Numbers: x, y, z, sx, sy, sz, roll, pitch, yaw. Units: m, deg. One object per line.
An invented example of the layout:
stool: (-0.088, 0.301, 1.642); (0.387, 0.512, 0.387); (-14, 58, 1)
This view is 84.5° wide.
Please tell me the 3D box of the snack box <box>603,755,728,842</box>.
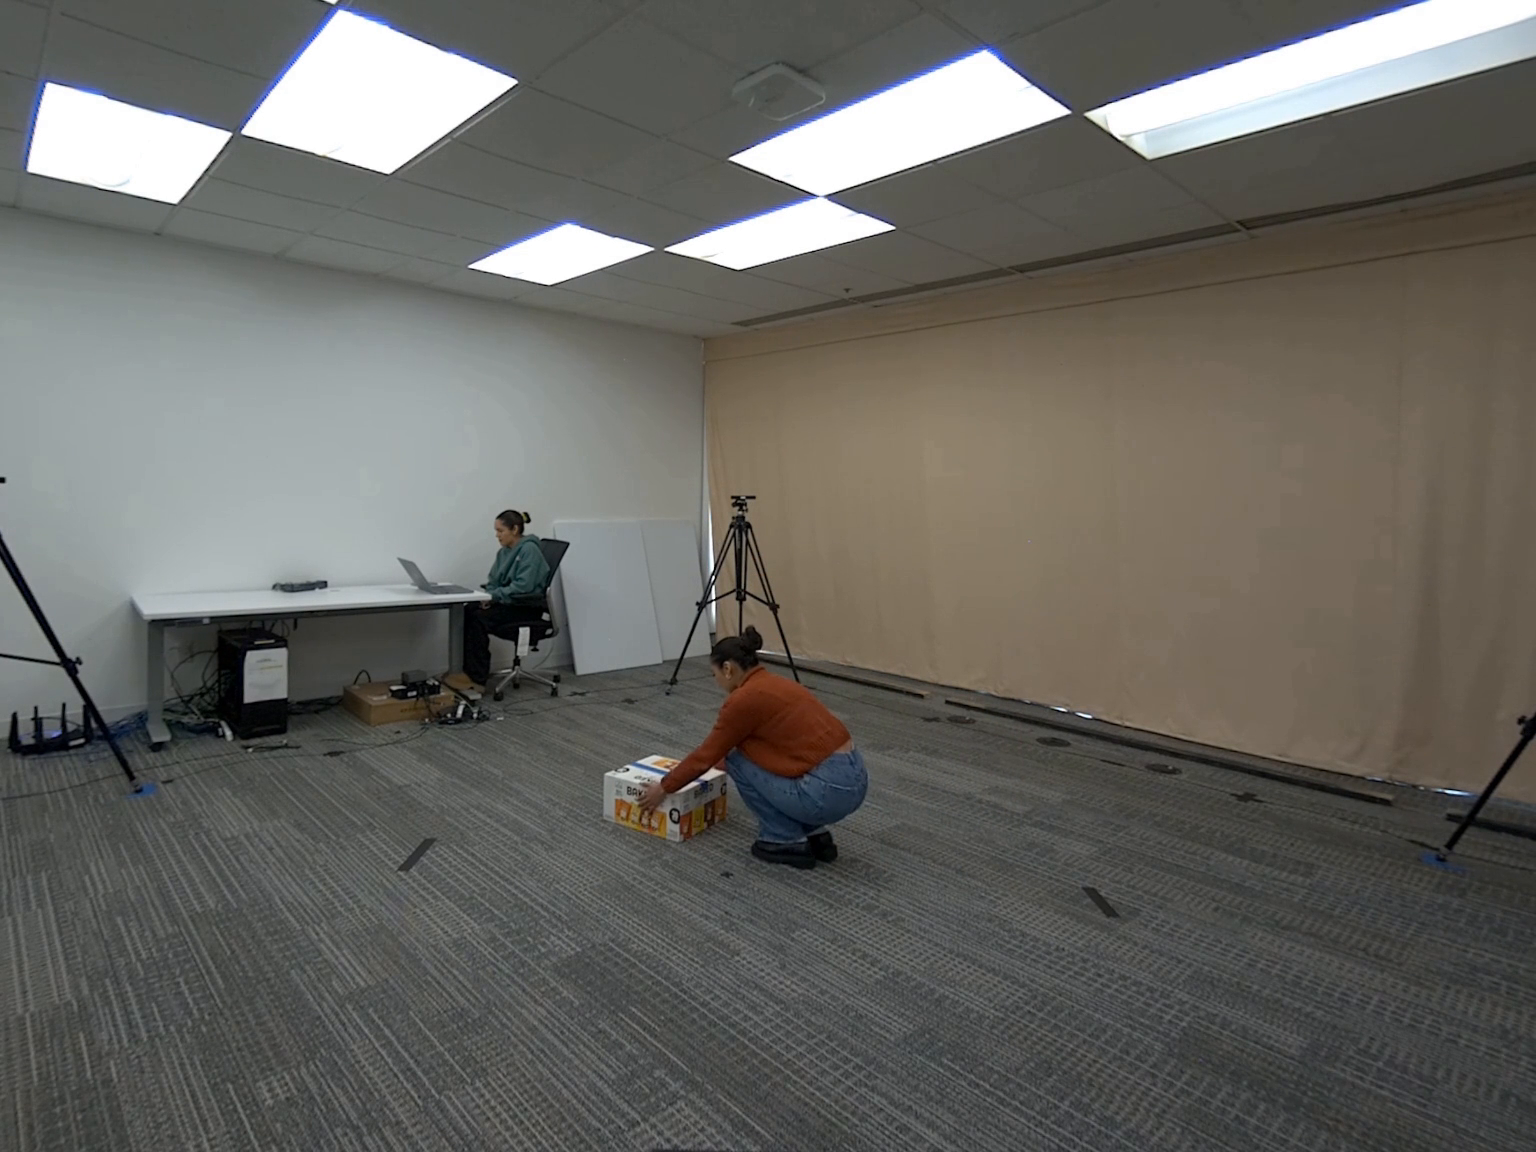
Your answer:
snack box: (-0.444, 0.943, 3.622); (0.414, 0.205, 0.333); (4, 5, 32)
